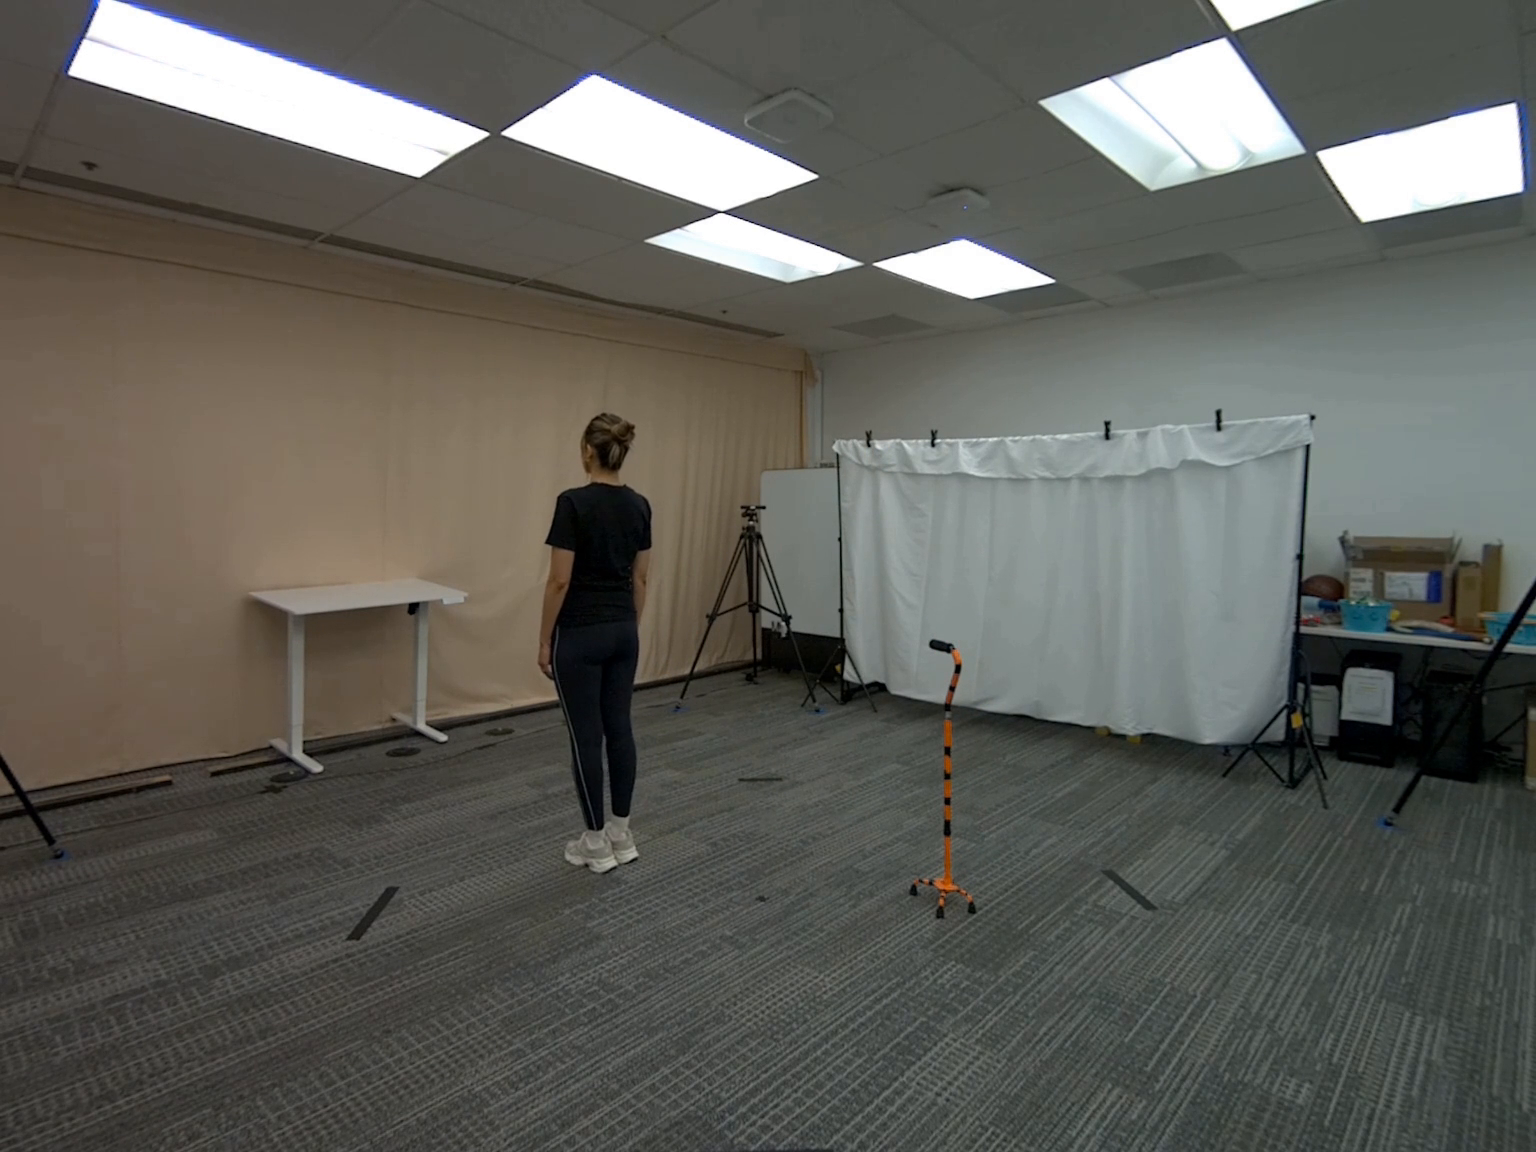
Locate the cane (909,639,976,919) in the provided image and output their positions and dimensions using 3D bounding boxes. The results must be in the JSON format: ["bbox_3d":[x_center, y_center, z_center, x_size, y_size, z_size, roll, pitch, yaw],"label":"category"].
[{"bbox_3d":[0.617,0.693,2.926,0.149,0.906,0.210,-1,3,-18],"label":"cane"}]
